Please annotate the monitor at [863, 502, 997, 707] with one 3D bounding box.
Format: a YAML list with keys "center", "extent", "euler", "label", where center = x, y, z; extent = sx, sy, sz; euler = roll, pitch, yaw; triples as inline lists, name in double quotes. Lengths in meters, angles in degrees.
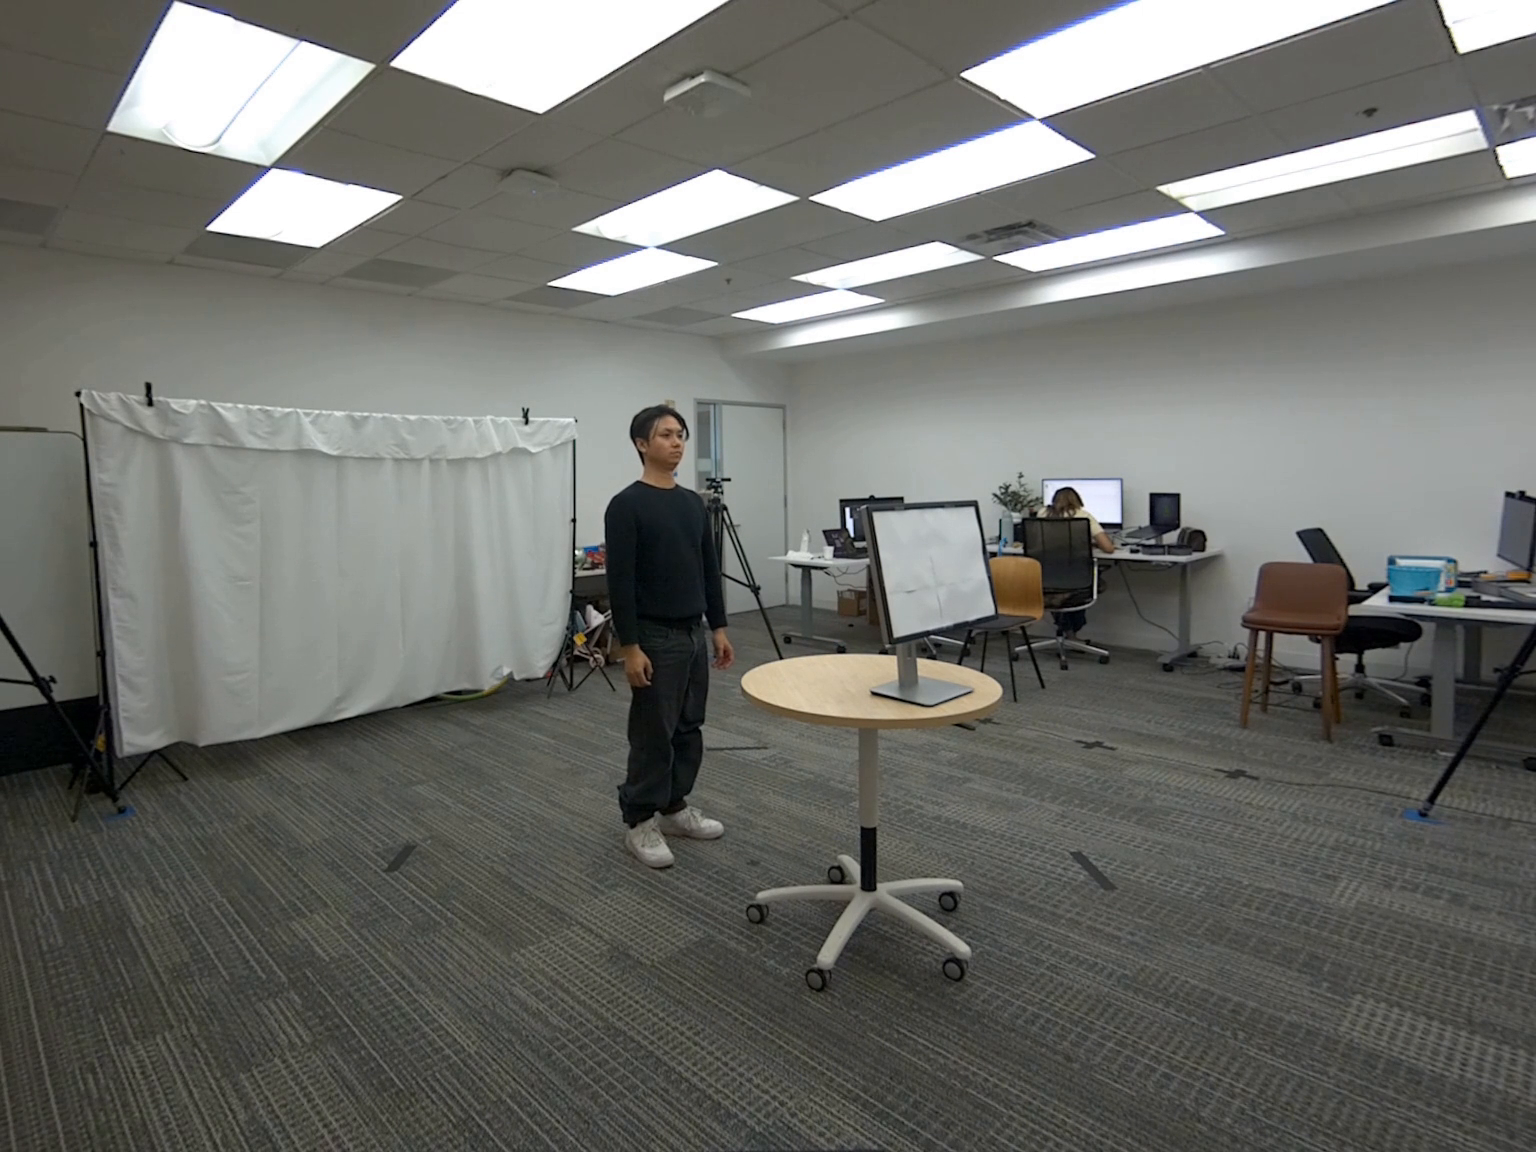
- center: [0.449, 0.066, 2.406]
  extent: [0.180, 0.513, 0.515]
  euler: [9, 9, 42]
  label: "monitor"
